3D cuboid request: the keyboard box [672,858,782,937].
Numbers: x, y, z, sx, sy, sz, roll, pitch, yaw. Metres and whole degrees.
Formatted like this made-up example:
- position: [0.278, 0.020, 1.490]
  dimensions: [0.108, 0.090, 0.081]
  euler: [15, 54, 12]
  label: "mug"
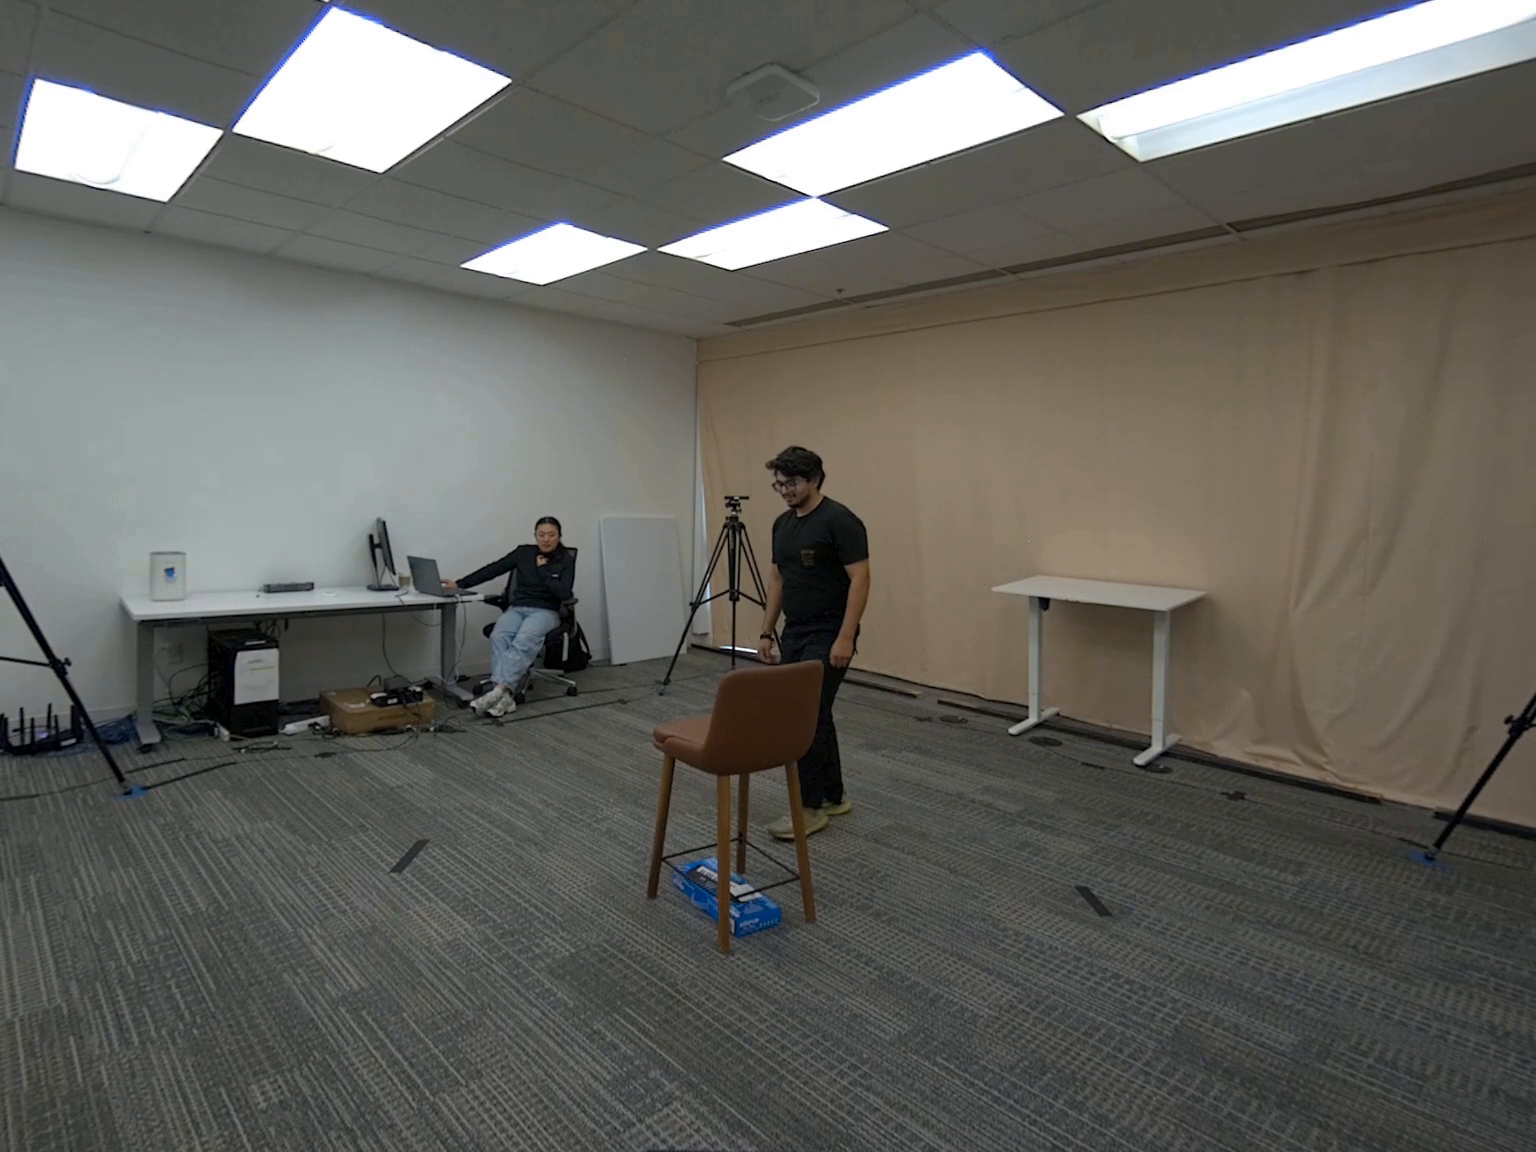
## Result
- position: [-0.152, 1.096, 2.885]
  dimensions: [0.172, 0.059, 0.447]
  euler: [-3, 7, -33]
  label: "keyboard box"
